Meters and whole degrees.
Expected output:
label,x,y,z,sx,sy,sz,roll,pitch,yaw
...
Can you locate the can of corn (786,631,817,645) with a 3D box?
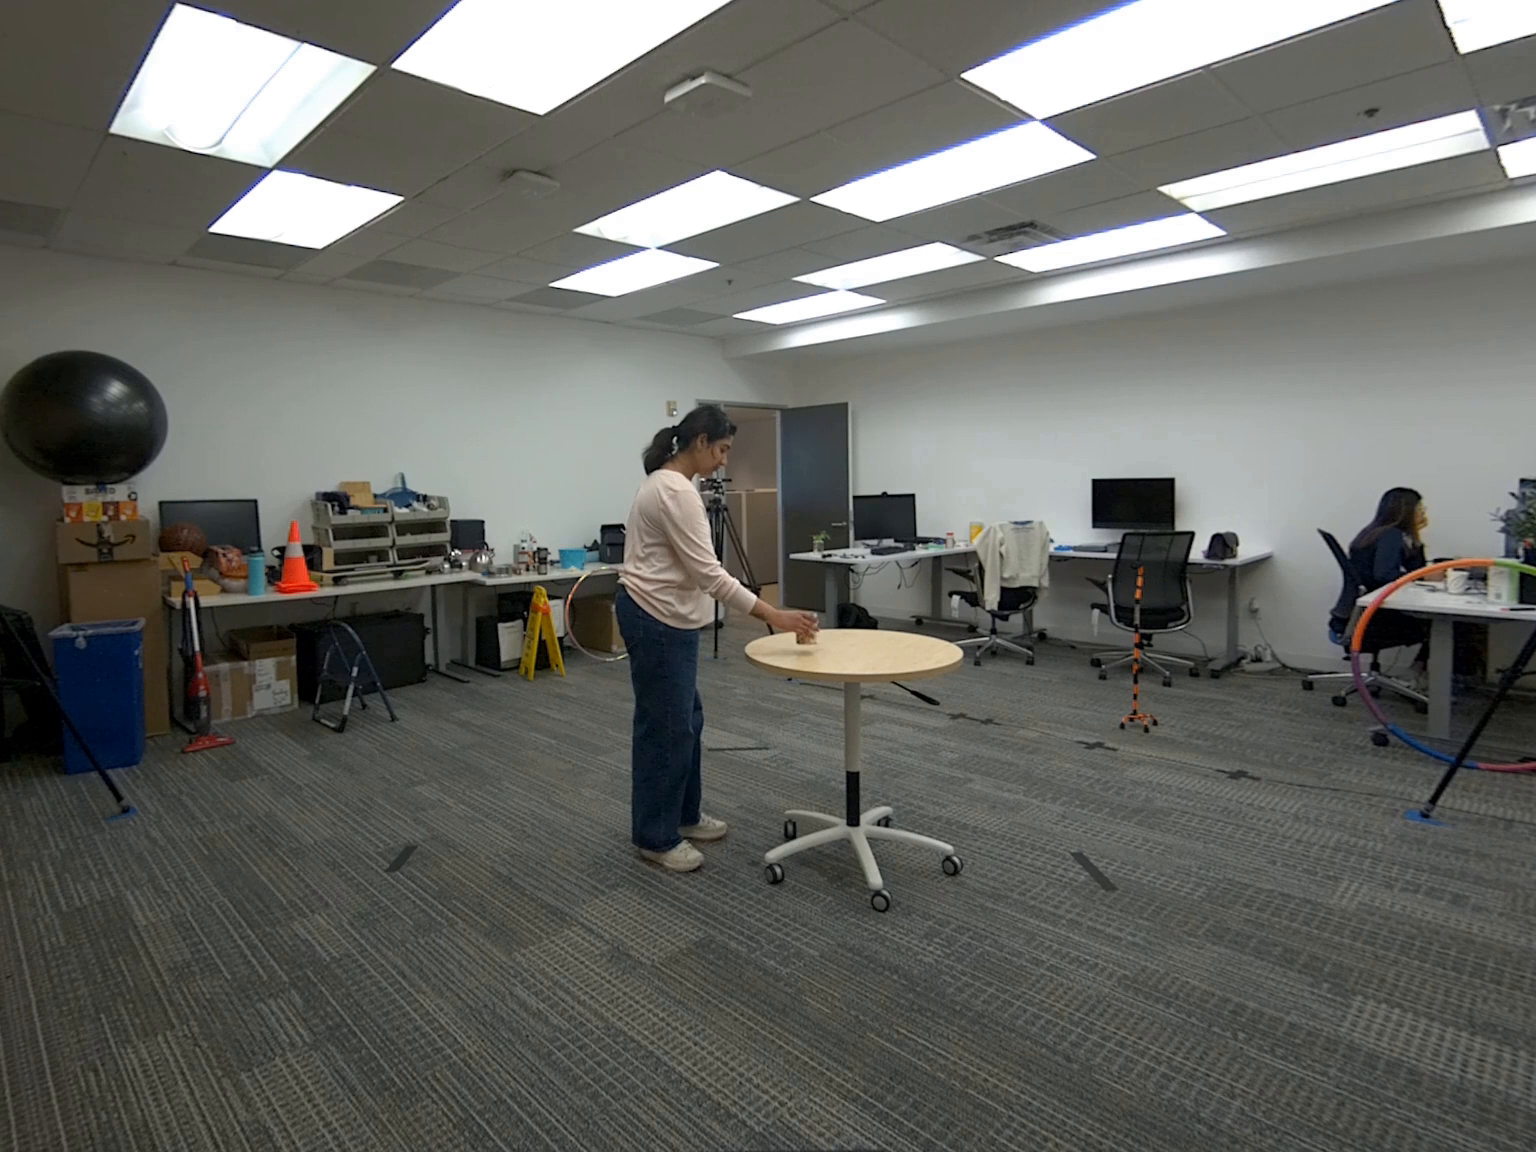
label,x,y,z,sx,sy,sz,roll,pitch,yaw
can of corn,0.134,0.178,2.997,0.074,0.111,0.074,-2,-1,-2
